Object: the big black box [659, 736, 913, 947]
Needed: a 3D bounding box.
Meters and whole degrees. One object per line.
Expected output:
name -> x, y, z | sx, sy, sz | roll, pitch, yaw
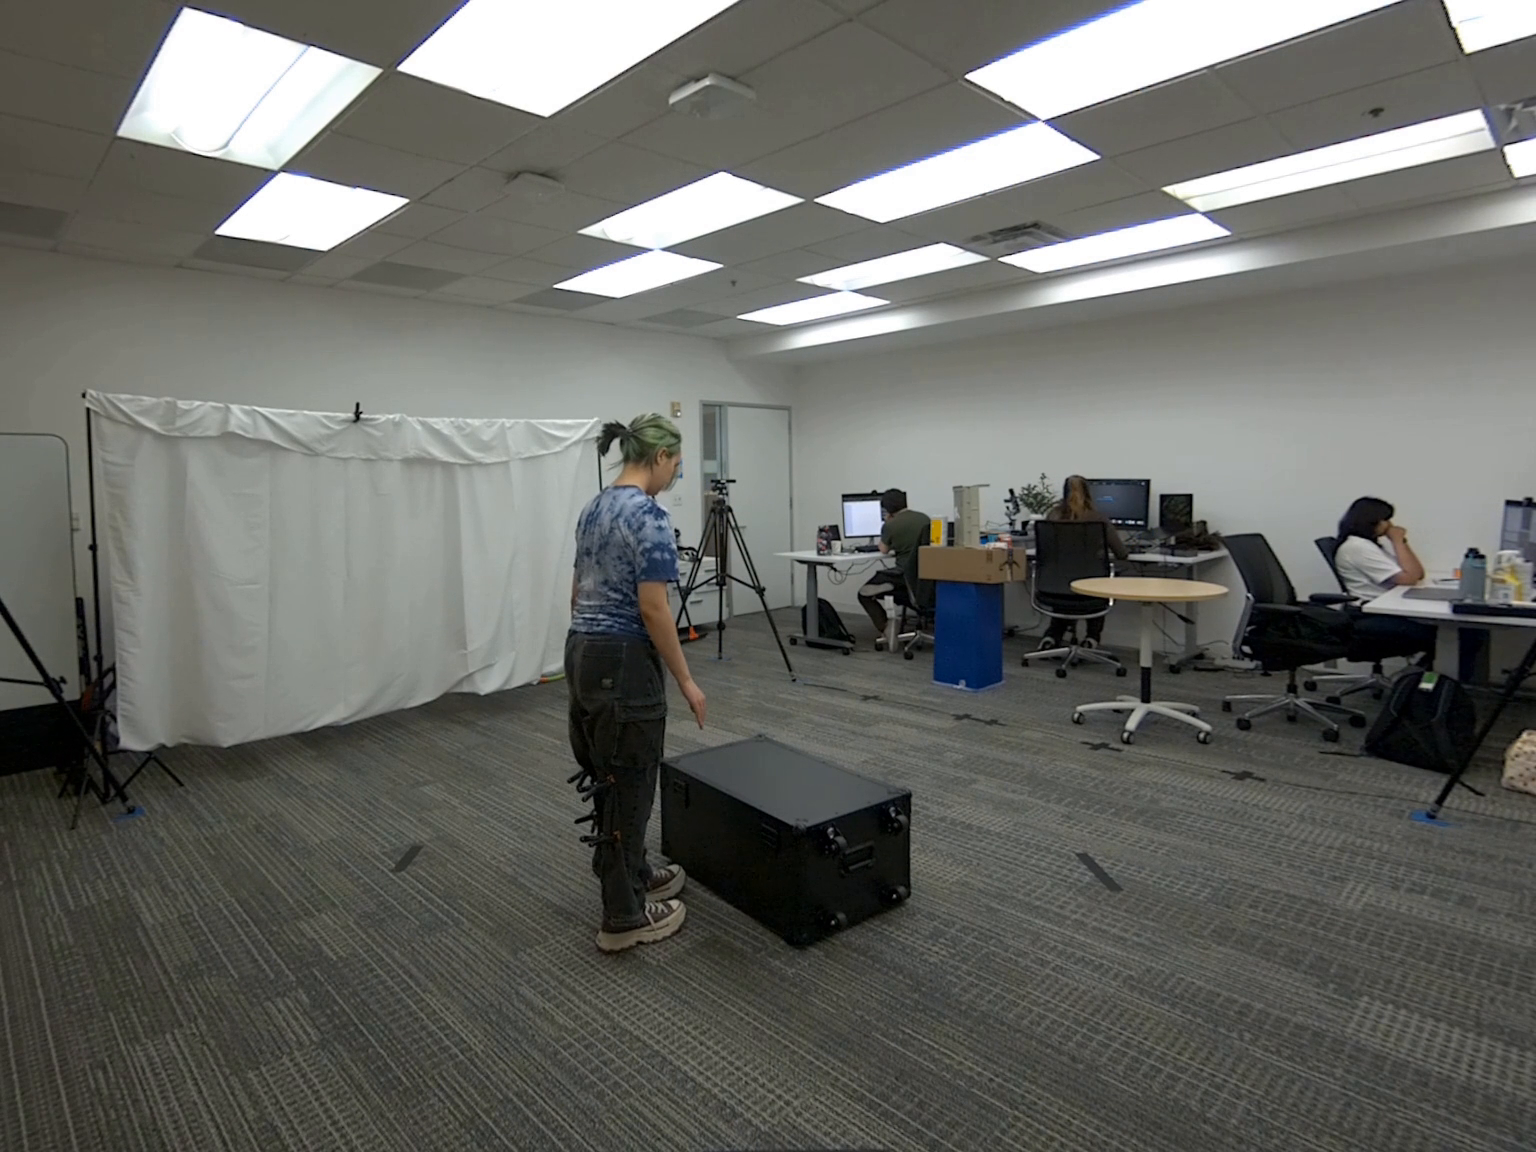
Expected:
big black box -> 0.056, 0.874, 2.934 | 0.508, 0.395, 0.887 | -5, 7, -37
